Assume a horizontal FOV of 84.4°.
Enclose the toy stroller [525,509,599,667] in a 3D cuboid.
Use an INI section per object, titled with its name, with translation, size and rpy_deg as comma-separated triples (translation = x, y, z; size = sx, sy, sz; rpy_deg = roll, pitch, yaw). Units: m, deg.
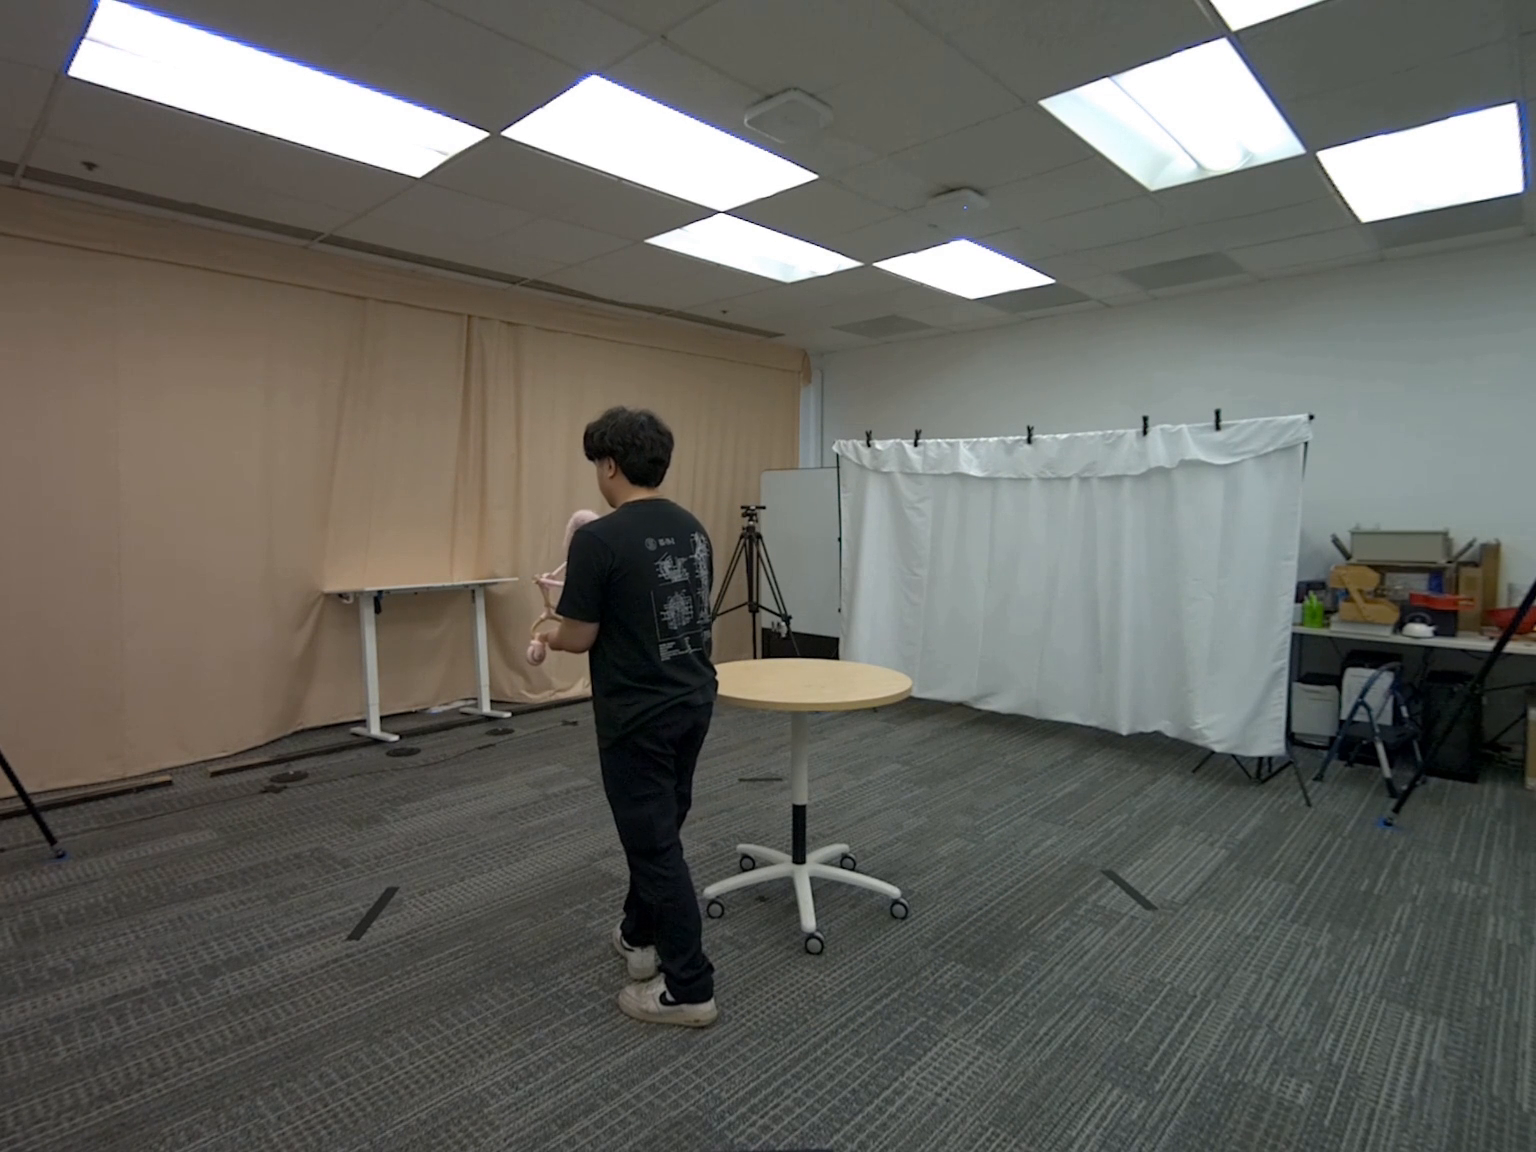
[toy stroller]
translation = -0.579, 0.028, 2.705
size = 0.329, 0.535, 0.291
rpy_deg = 13, -3, -42
